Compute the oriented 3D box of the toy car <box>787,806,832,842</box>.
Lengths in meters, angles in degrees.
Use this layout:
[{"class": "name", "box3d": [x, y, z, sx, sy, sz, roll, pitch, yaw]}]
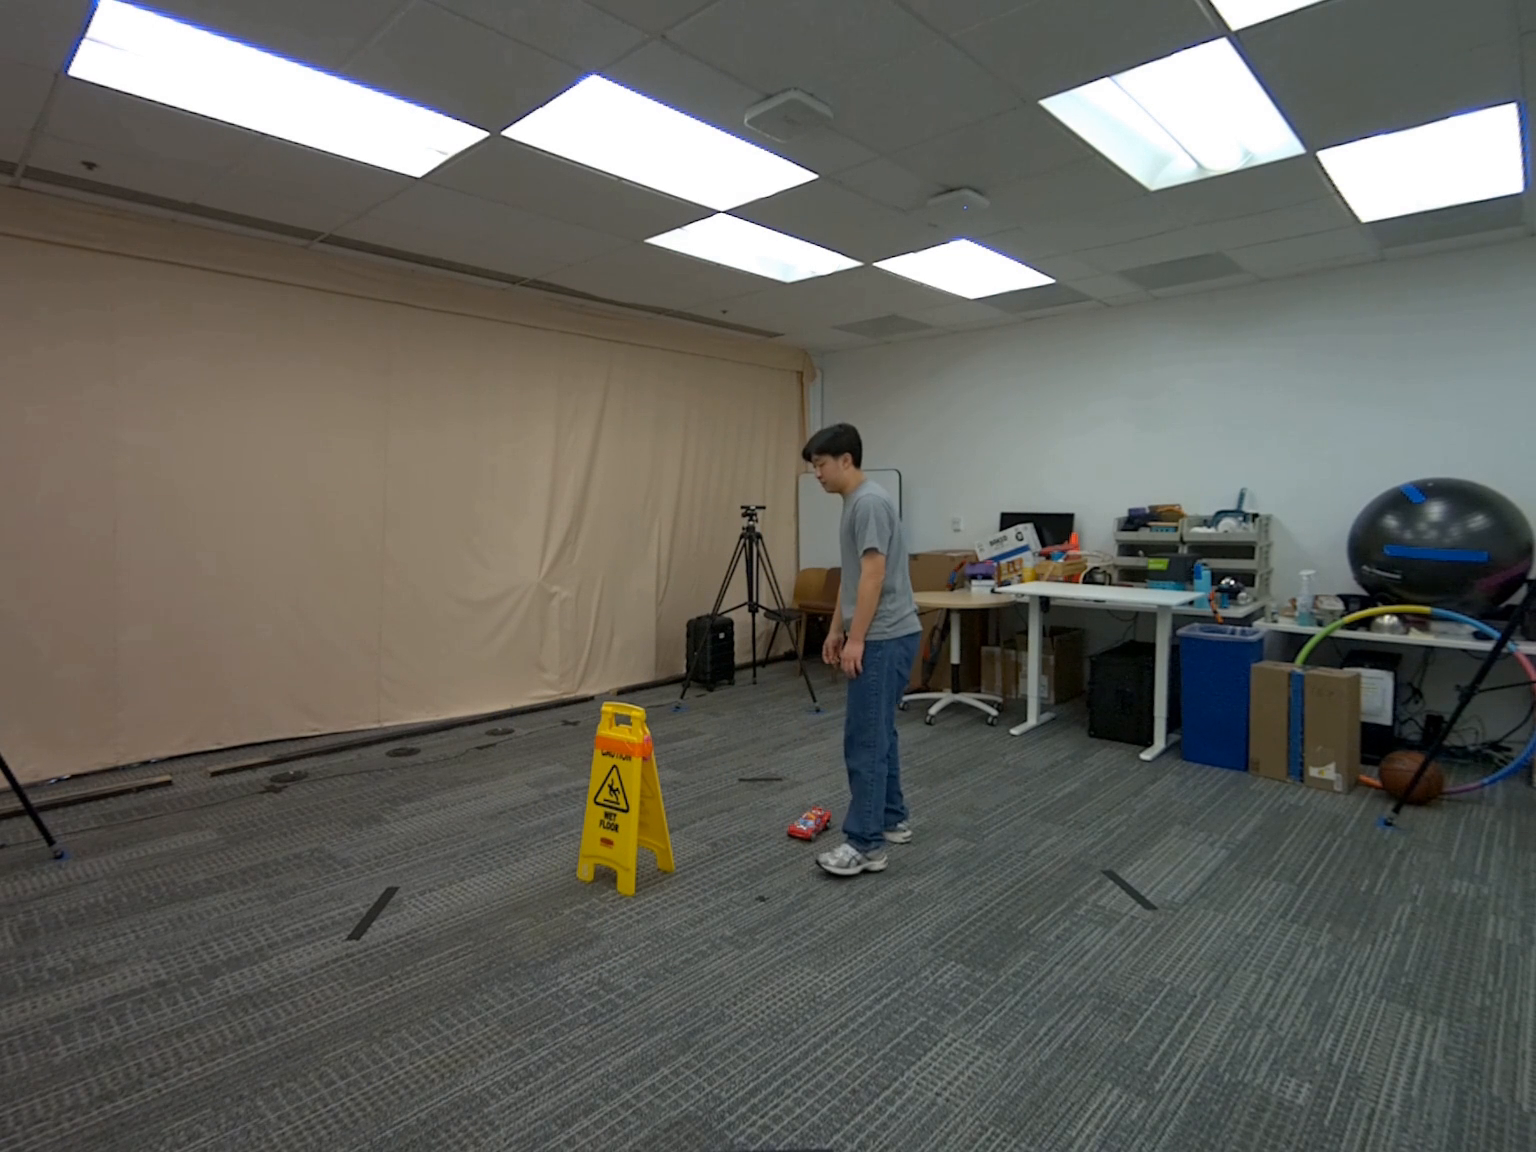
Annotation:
[{"class": "toy car", "box3d": [0.192, 1.060, 3.600, 0.134, 0.082, 0.249, 0, 15, 30]}]
